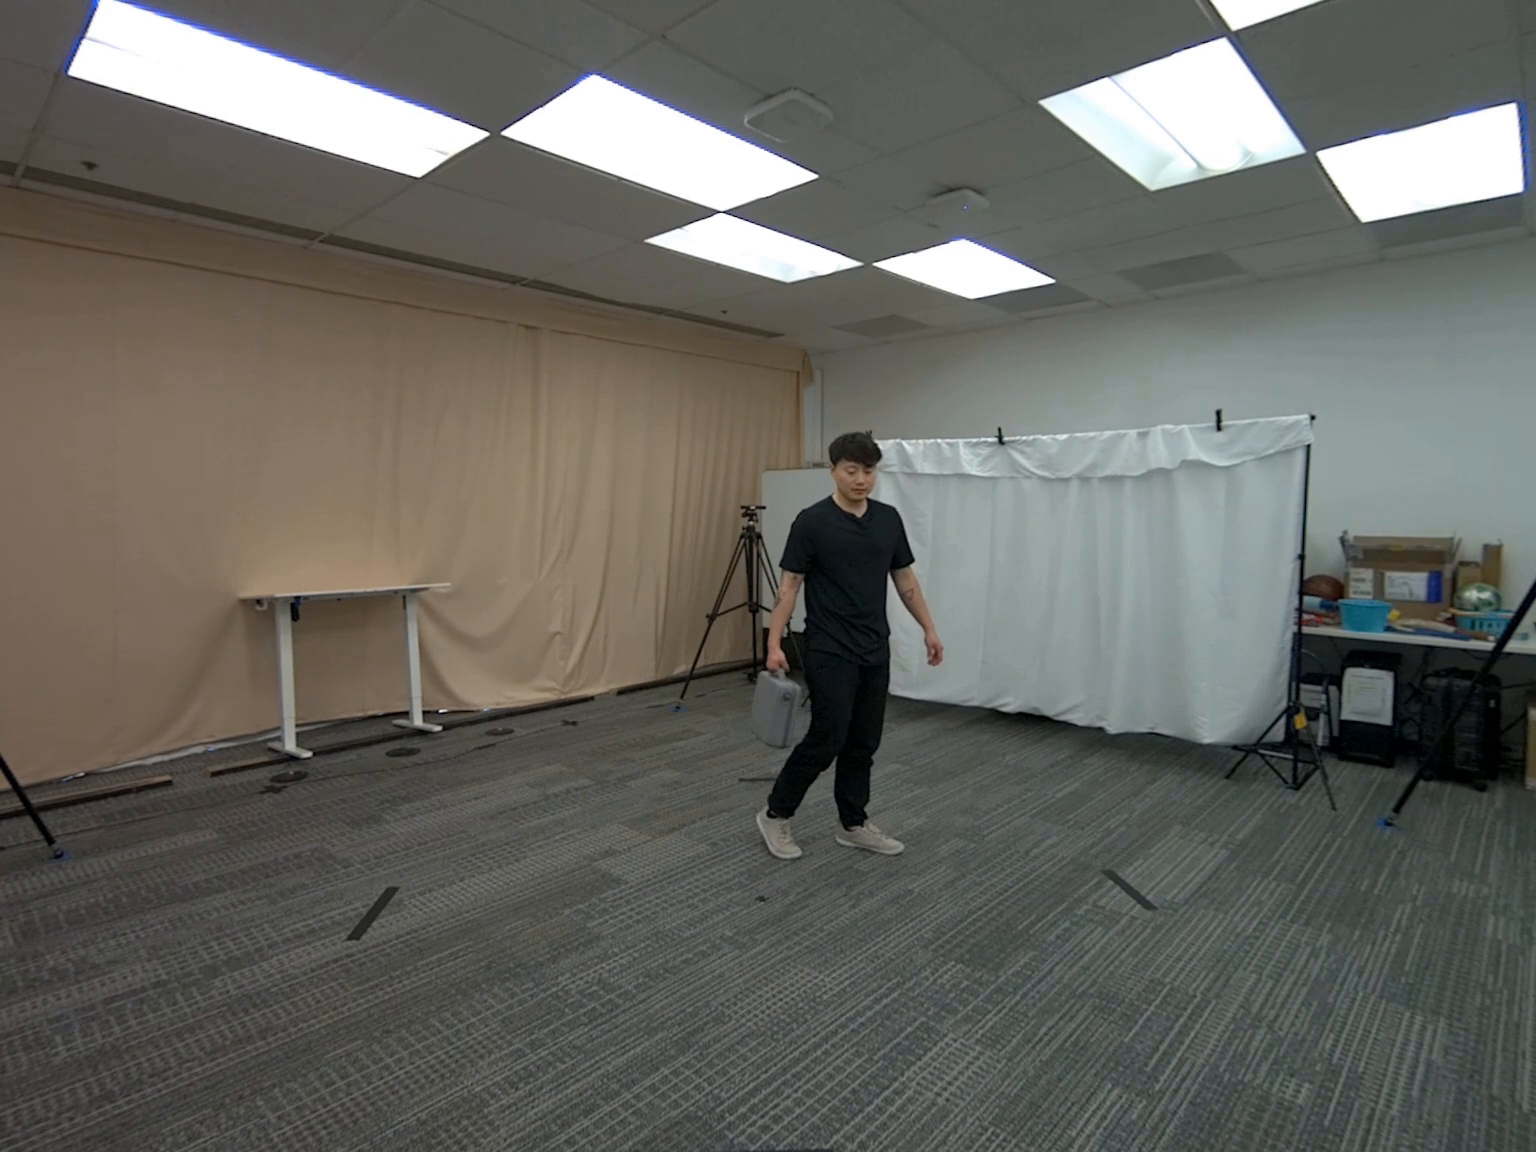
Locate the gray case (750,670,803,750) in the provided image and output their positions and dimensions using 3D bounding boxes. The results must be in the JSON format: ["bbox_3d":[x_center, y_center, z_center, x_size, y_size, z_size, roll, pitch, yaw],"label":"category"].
[{"bbox_3d":[0.033,0.510,3.269,0.102,0.260,0.261,7,1,-16],"label":"gray case"}]
